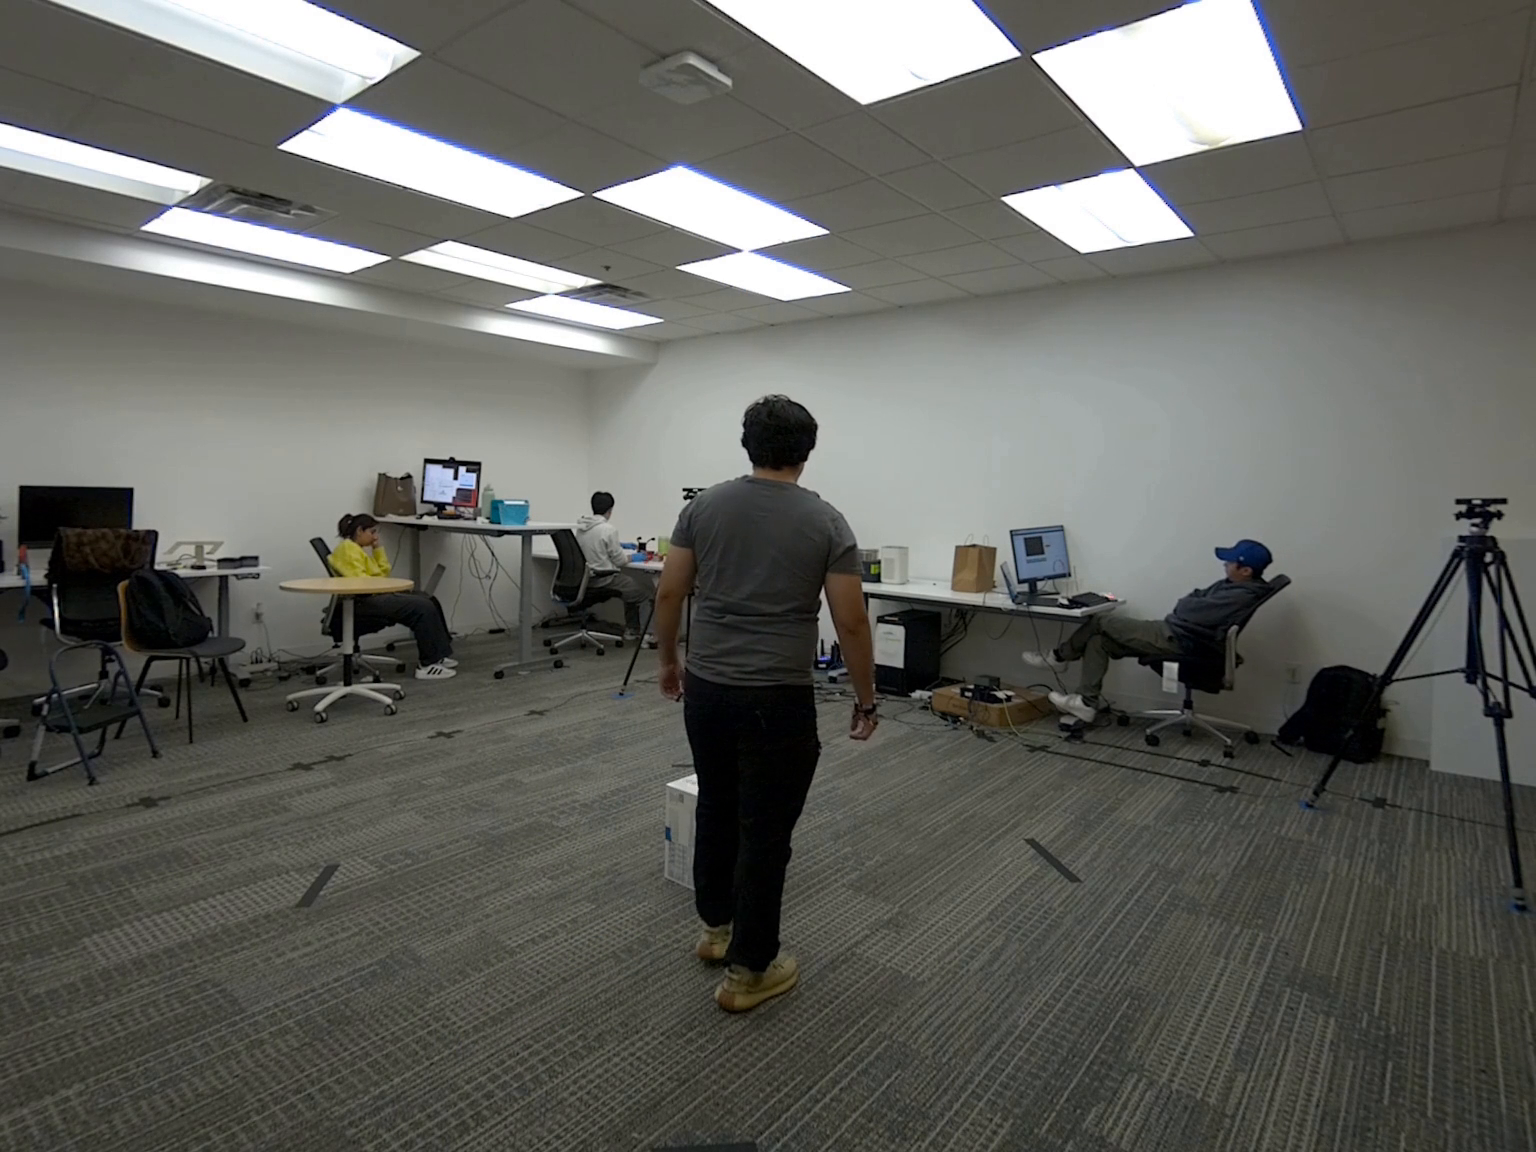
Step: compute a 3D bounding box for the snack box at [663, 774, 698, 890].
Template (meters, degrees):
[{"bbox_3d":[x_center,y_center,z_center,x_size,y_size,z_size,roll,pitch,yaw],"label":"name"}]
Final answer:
[{"bbox_3d":[-0.170,0.898,3.107,0.212,0.339,0.393,4,5,39],"label":"snack box"}]
